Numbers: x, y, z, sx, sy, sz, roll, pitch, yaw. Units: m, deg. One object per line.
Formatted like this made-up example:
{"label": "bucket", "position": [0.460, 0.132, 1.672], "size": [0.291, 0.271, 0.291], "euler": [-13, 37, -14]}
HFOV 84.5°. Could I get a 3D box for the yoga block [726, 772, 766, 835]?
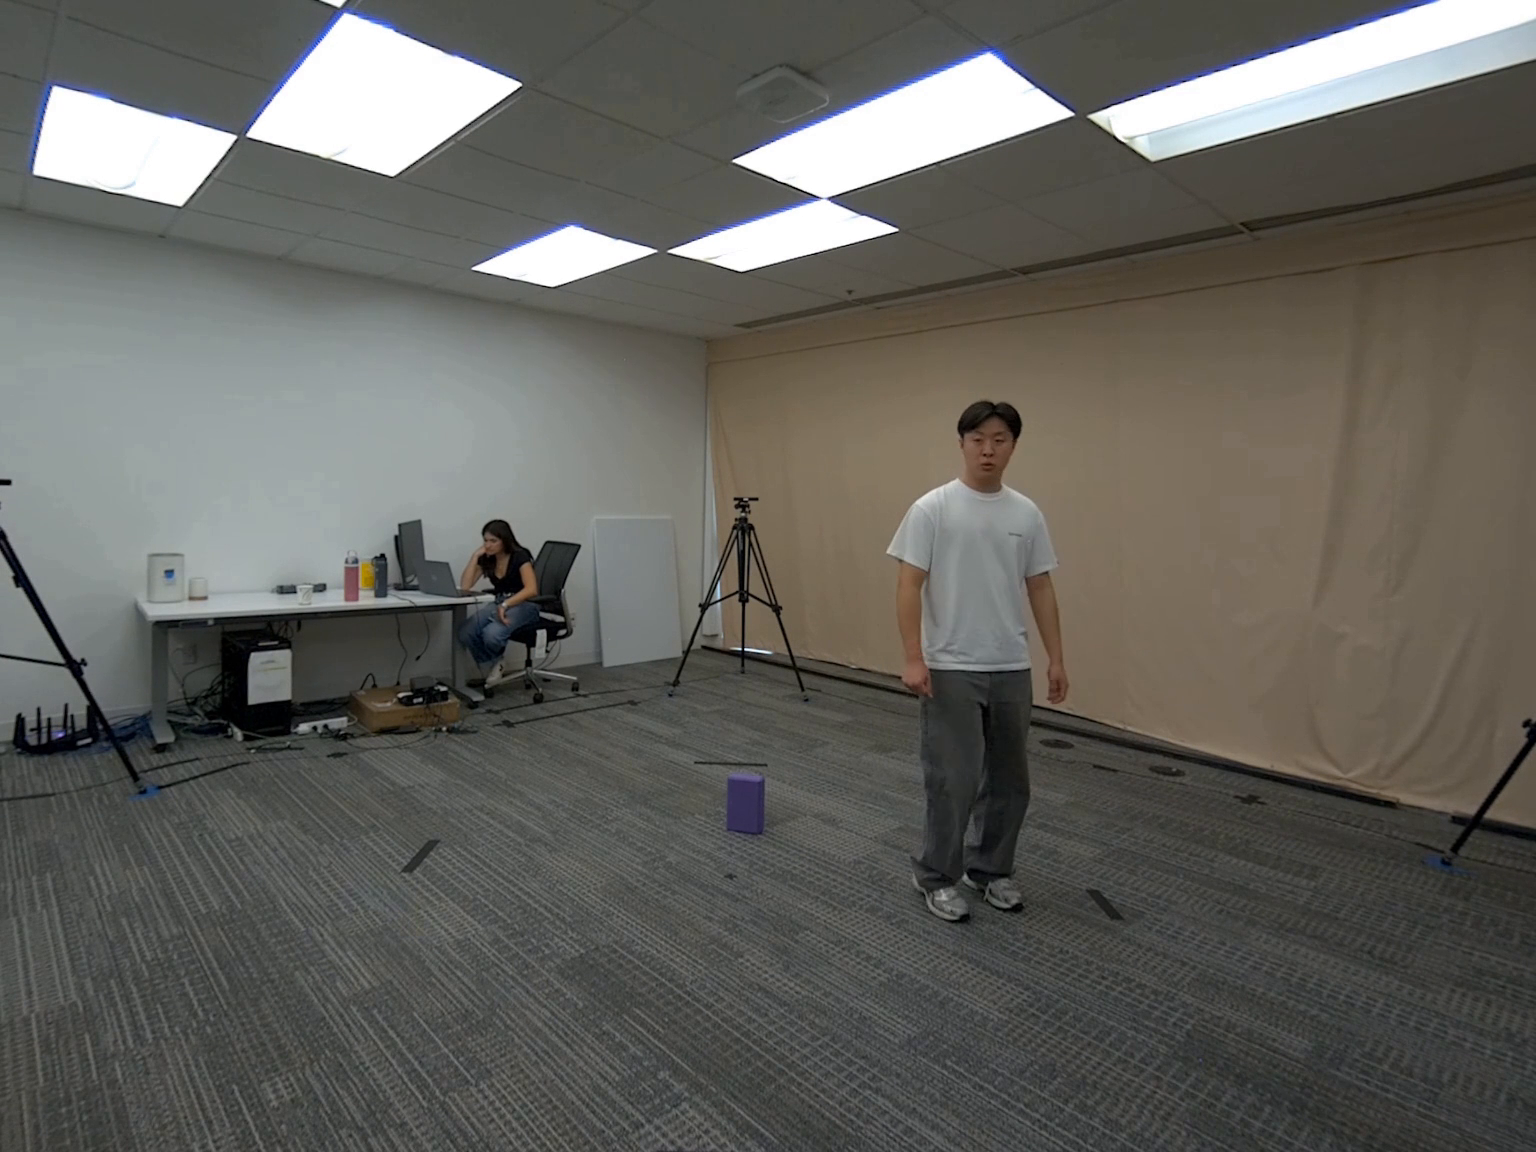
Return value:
{"label": "yoga block", "position": [-0.105, 0.958, 3.540], "size": [0.151, 0.229, 0.075], "euler": [3, 3, 18]}
